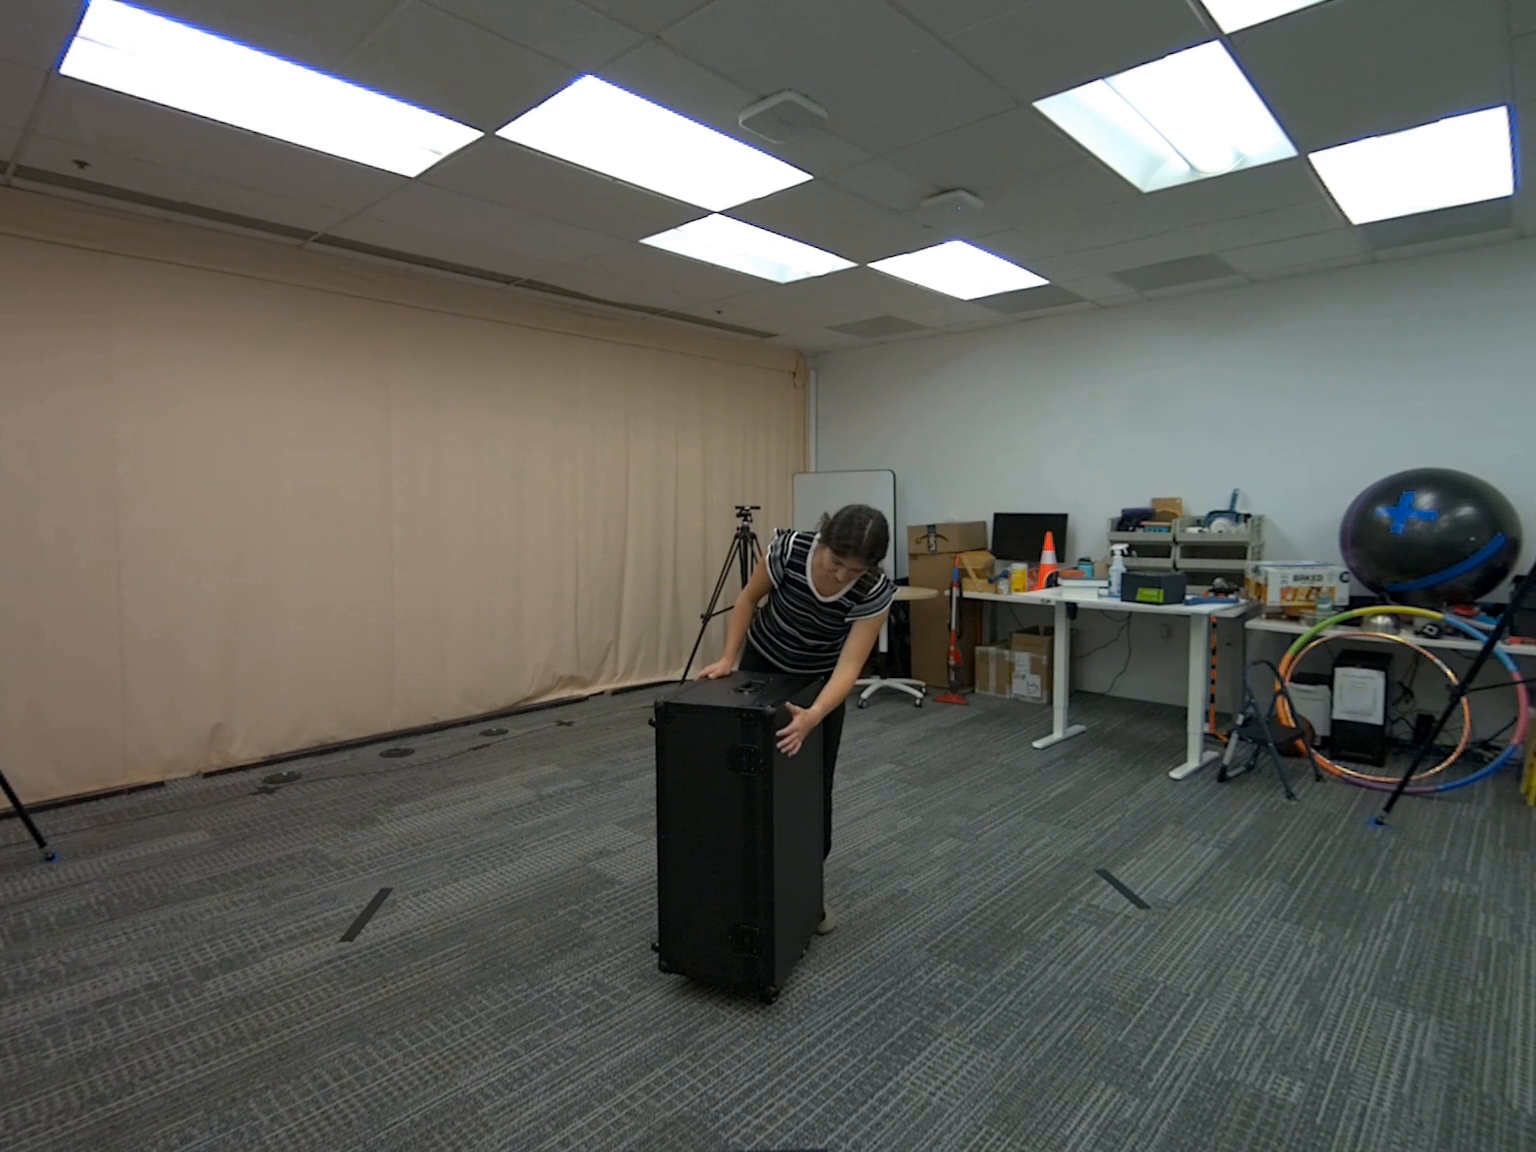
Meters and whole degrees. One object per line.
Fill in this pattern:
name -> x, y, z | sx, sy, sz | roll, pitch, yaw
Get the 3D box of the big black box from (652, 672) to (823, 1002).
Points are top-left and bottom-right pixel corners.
big black box -> -0.080, 0.761, 2.523 | 0.405, 0.860, 0.511 | 0, 3, 21
